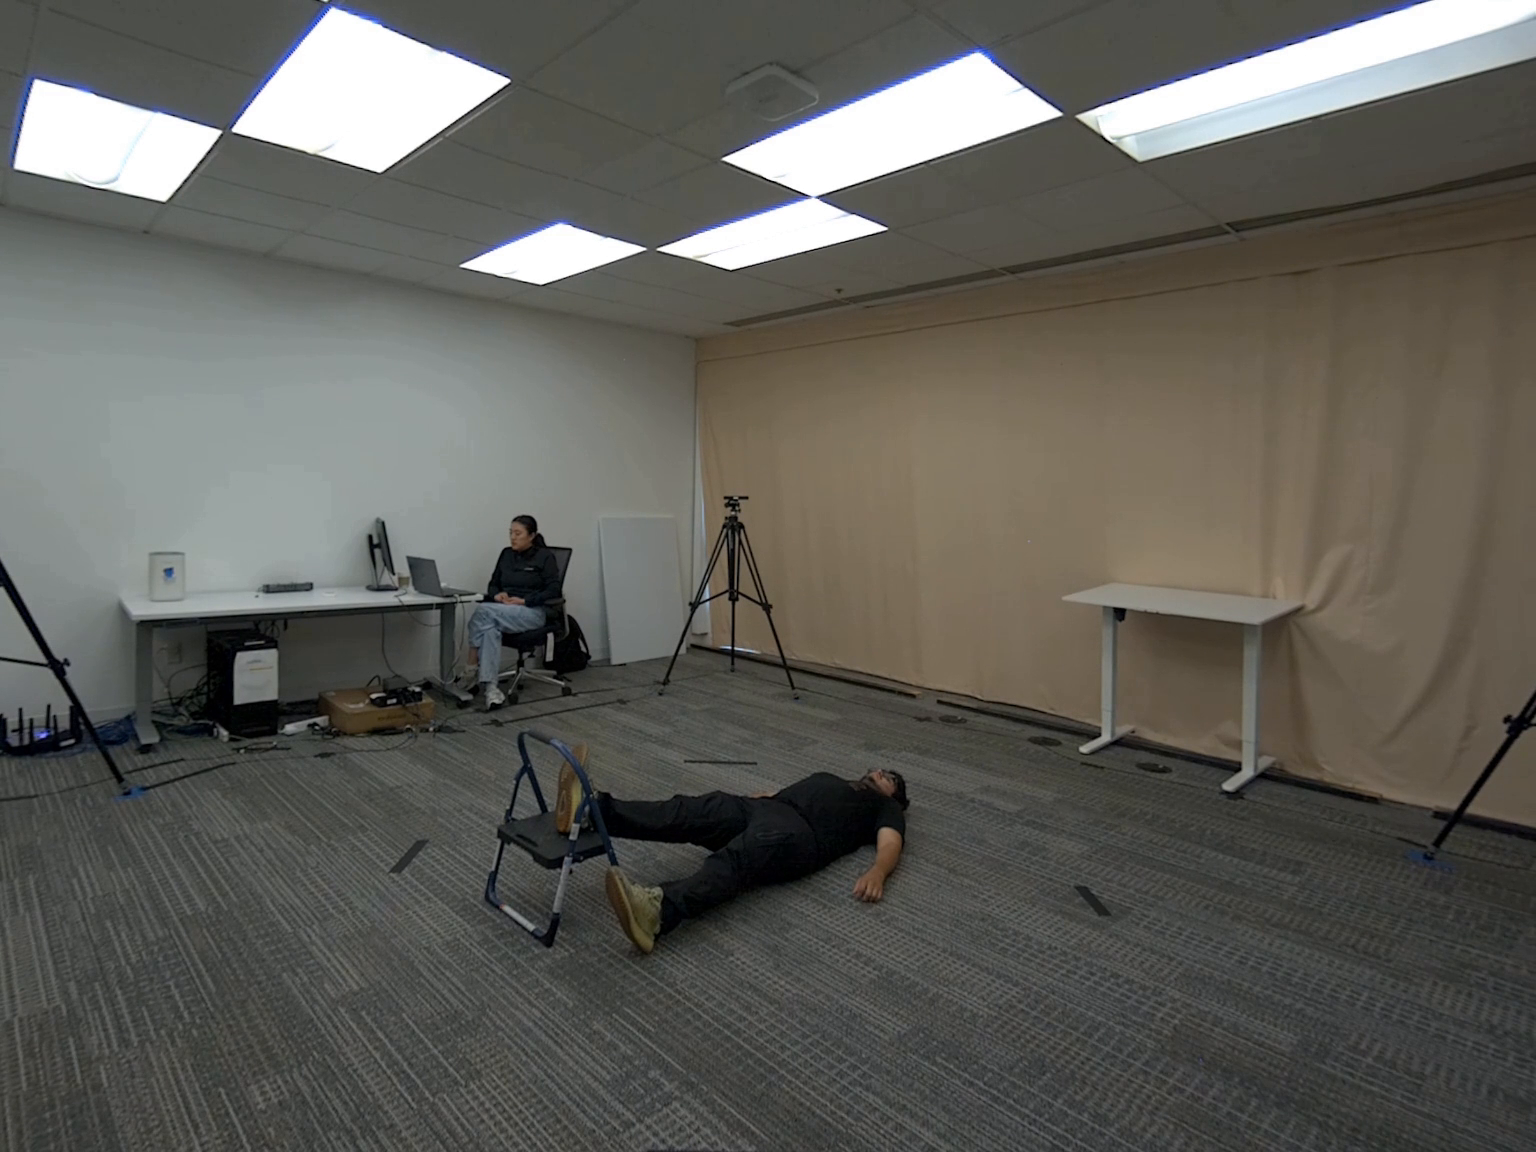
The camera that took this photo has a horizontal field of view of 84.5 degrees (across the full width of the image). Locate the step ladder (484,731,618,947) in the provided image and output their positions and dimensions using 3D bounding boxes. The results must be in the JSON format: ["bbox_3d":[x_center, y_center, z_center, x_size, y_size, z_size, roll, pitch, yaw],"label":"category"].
[{"bbox_3d":[-0.703,0.815,2.821,0.441,0.604,0.341,4,5,45],"label":"step ladder"}]
